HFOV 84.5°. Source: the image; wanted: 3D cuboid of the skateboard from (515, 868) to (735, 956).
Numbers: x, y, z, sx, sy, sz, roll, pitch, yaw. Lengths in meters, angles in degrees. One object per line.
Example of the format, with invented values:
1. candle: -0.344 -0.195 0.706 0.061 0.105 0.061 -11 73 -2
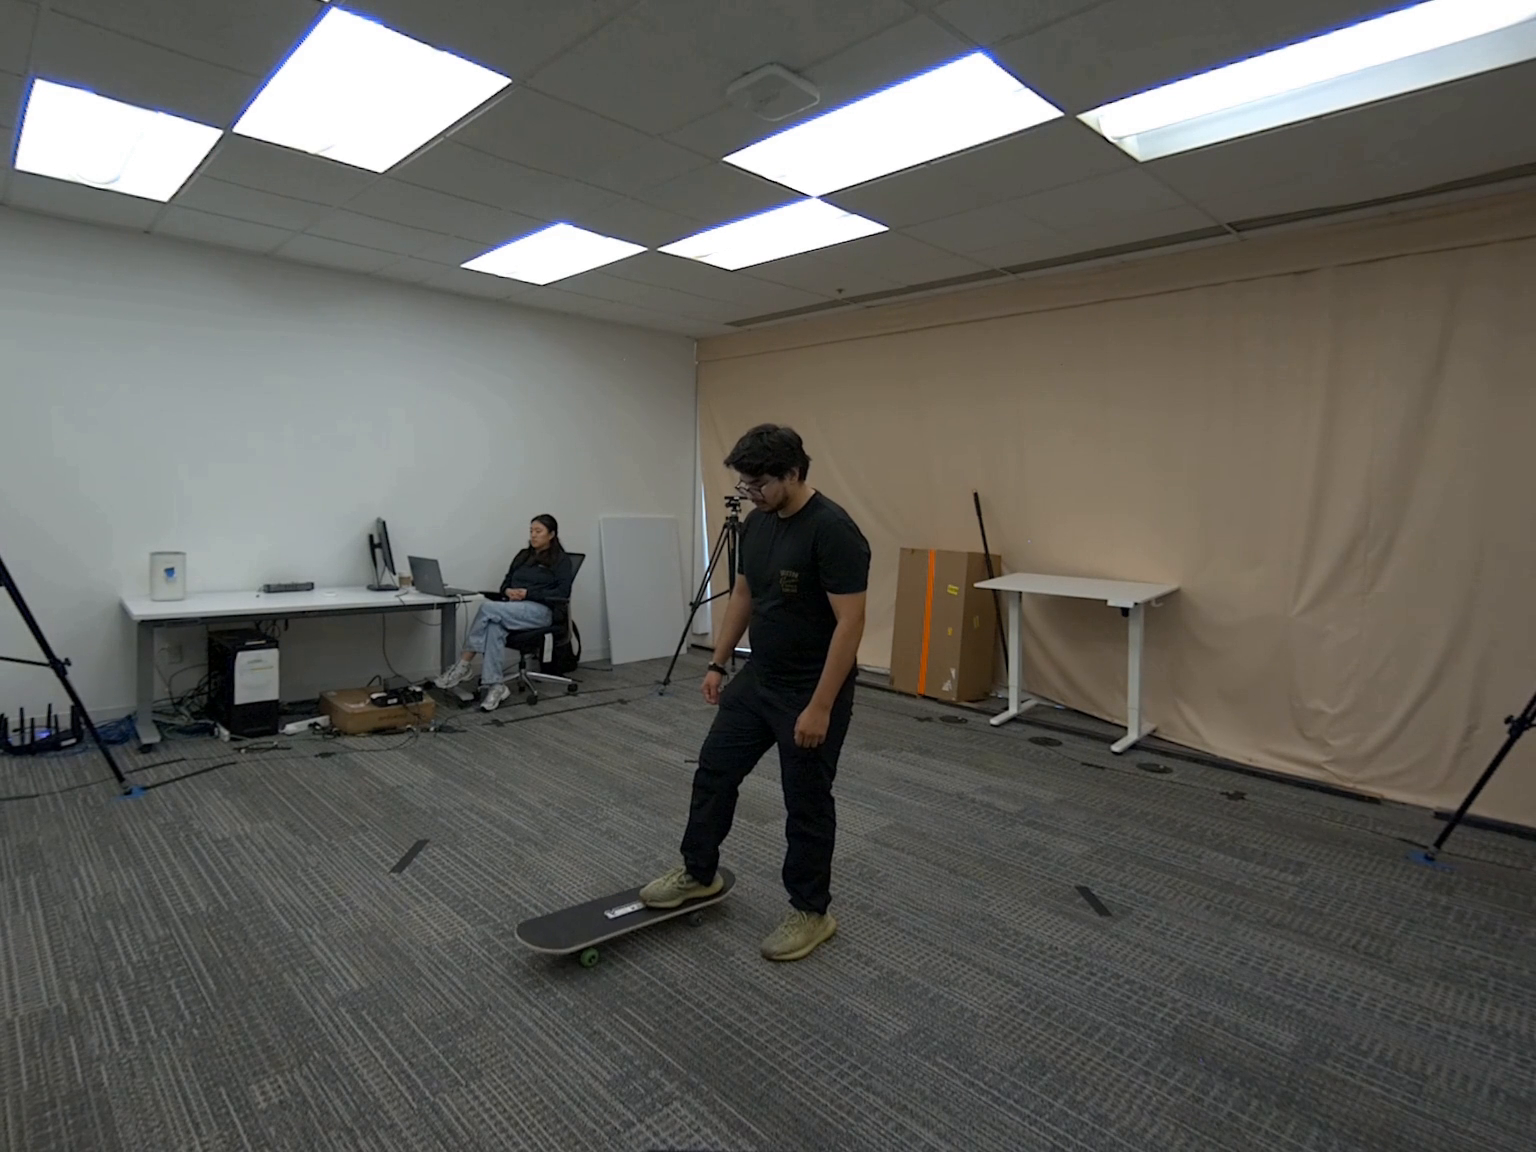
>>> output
1. skateboard: -0.425 1.079 2.661 0.767 0.110 0.199 -2 10 -41
